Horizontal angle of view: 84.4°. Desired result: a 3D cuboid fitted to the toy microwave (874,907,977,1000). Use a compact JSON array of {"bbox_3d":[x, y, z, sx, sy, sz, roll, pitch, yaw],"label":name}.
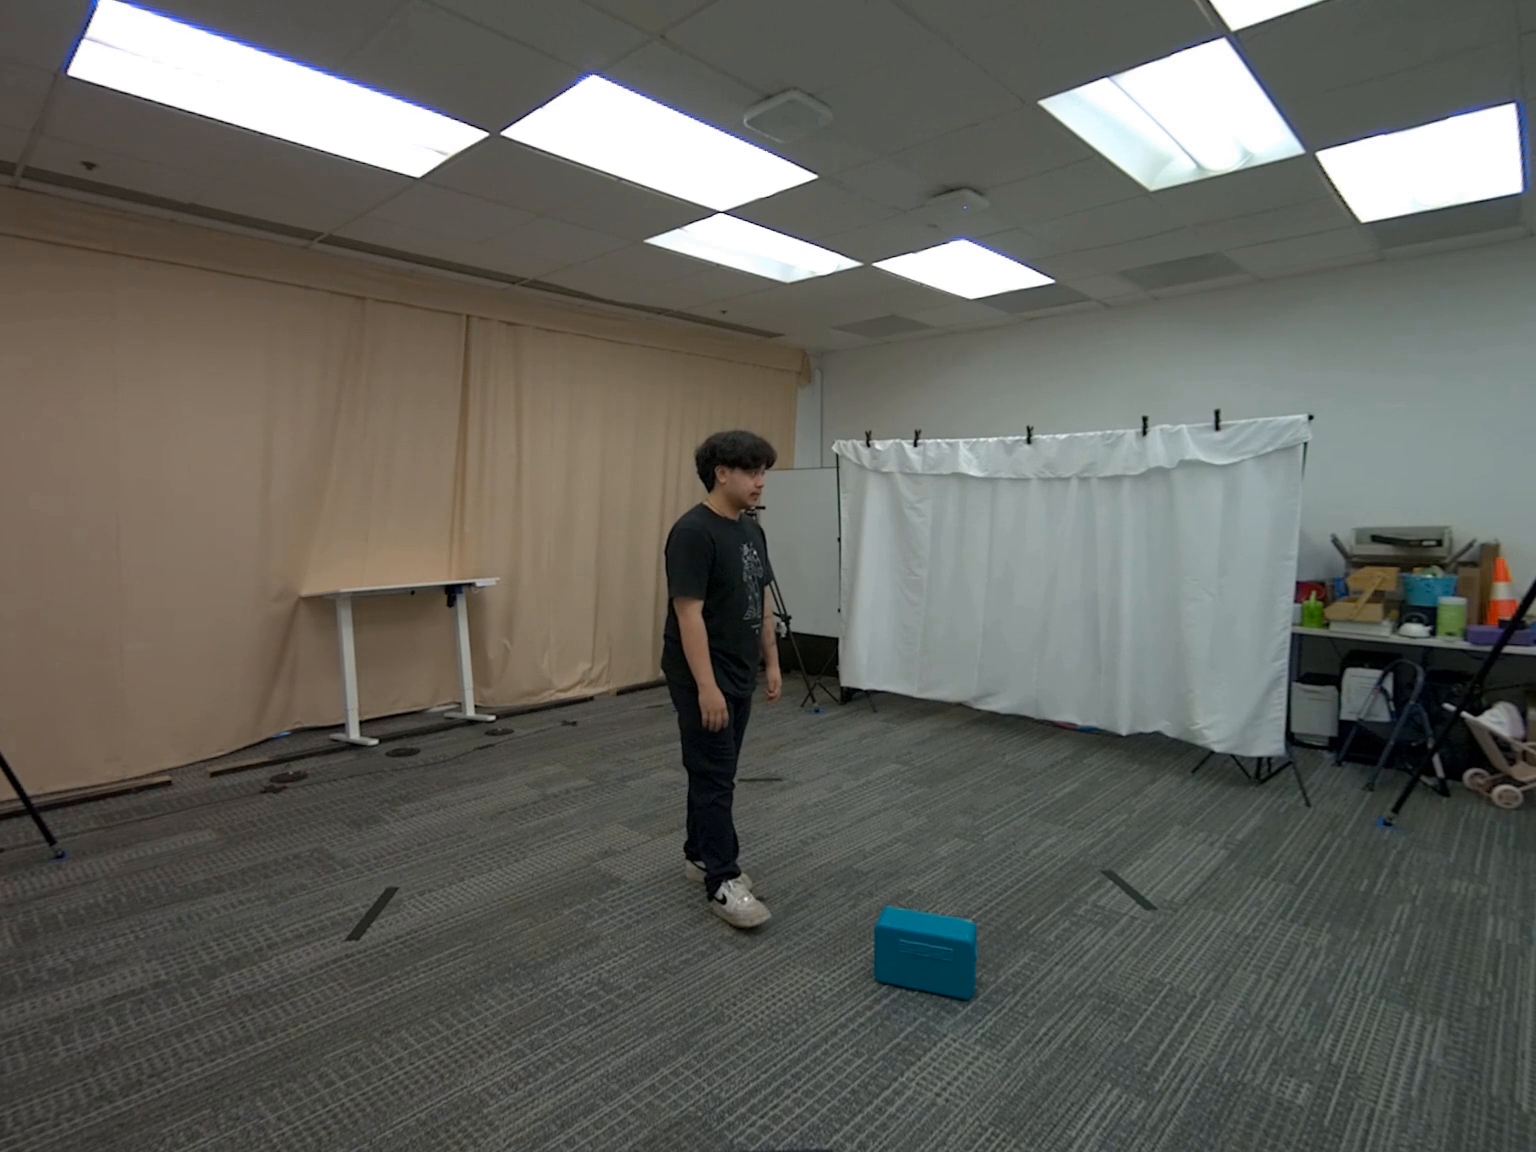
[{"bbox_3d":[0.467,1.096,2.460,0.292,0.184,0.149,2,4,21],"label":"toy microwave"}]
